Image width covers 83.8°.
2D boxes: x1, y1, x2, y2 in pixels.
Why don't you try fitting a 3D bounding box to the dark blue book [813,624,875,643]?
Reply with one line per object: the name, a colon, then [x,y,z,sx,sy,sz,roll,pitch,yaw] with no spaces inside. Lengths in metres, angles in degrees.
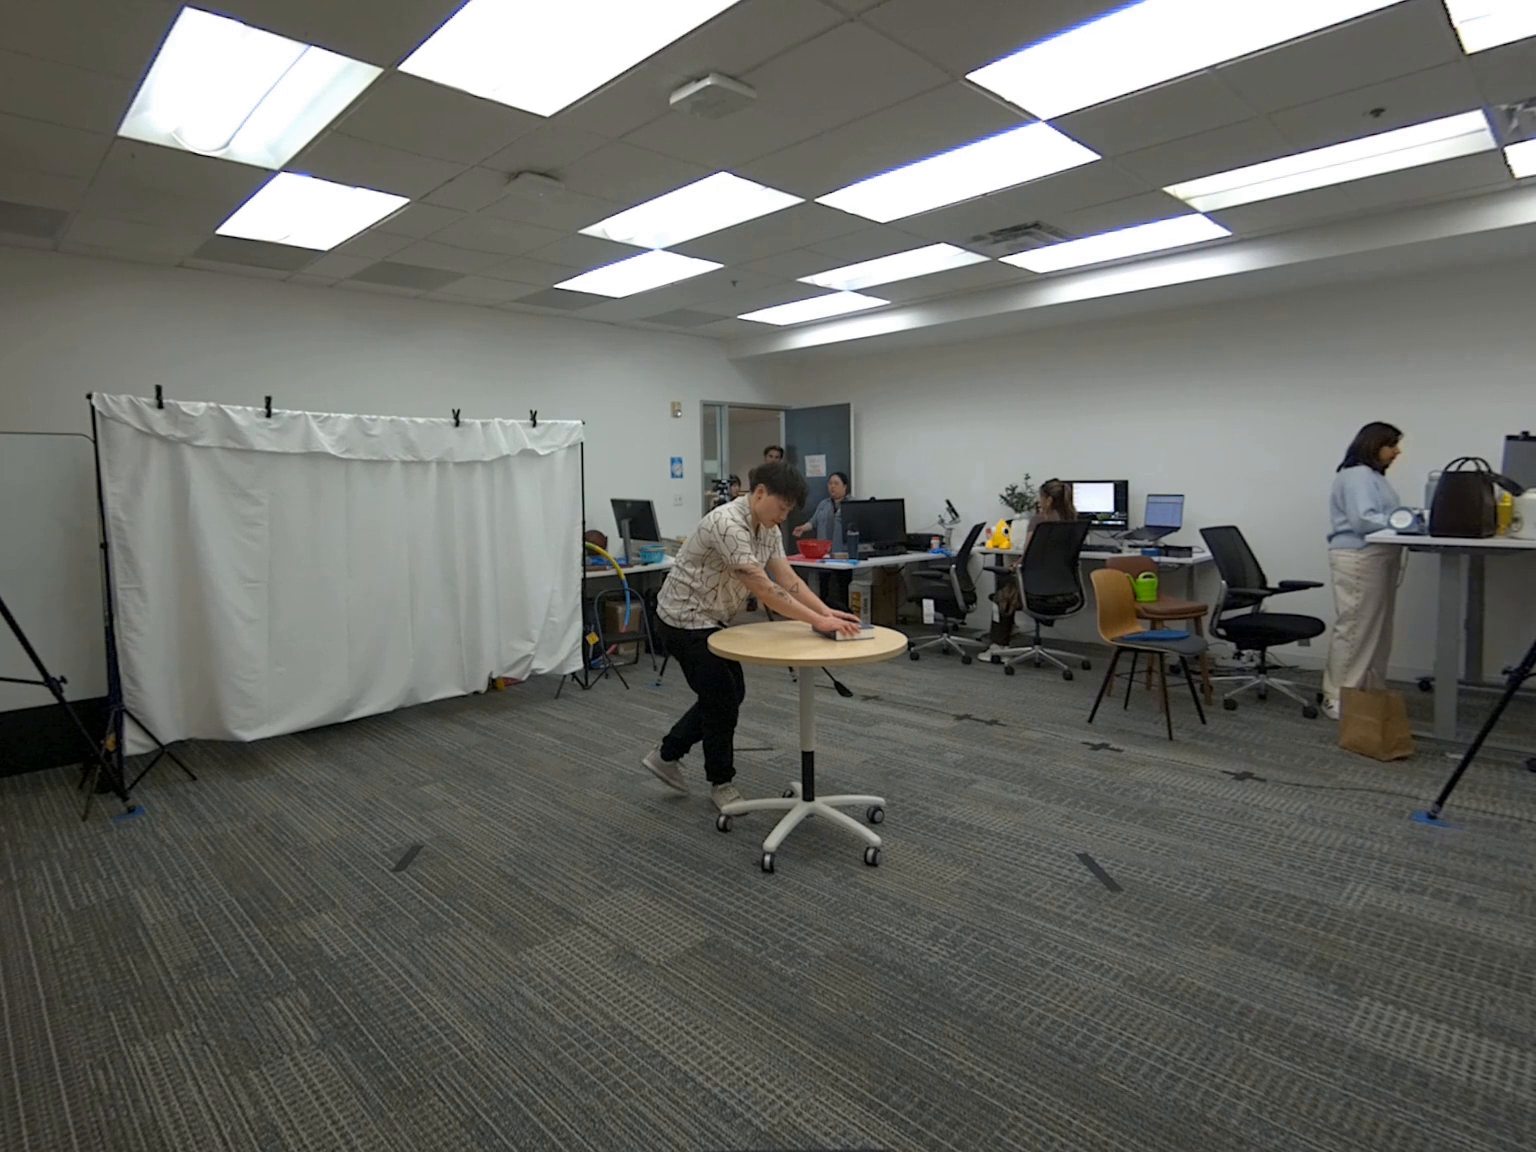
dark blue book: [0.287,0.214,3.369,0.161,0.045,0.250,-2,8,-15]
